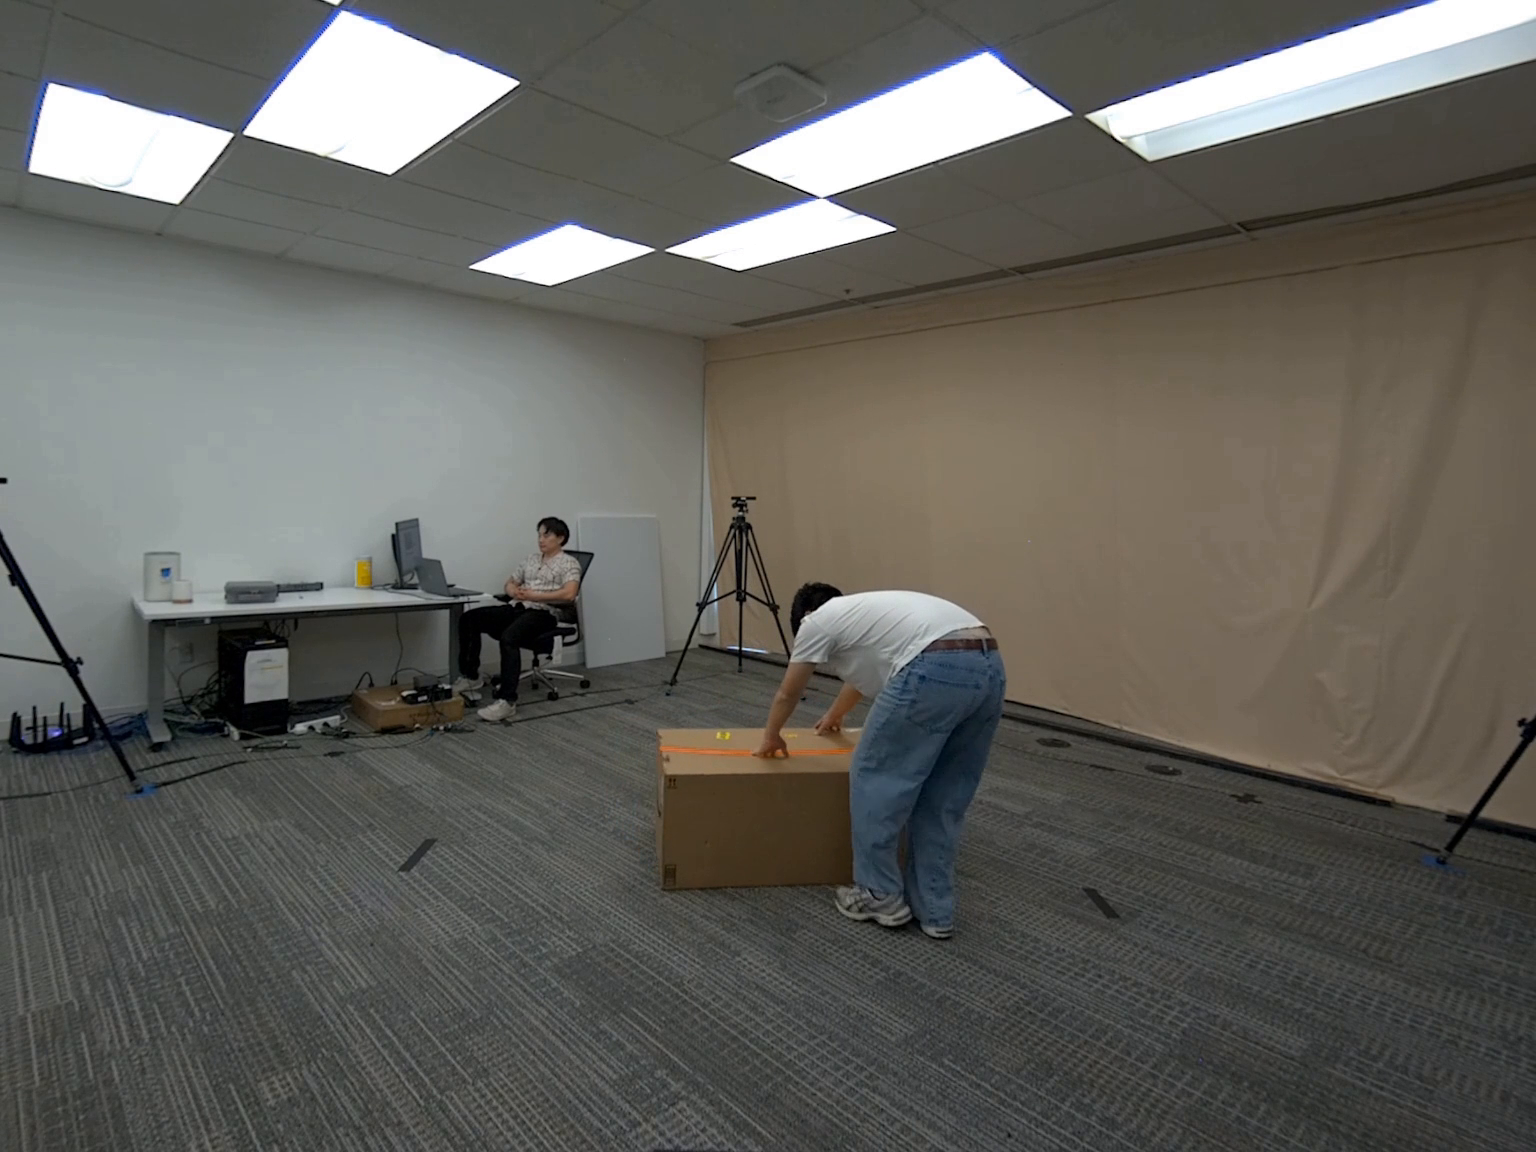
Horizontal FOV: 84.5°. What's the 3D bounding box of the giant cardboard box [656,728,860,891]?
[{"bbox_3d":[0.076,0.879,3.305,1.019,0.425,0.582,1,4,-8],"label":"giant cardboard box"}]
